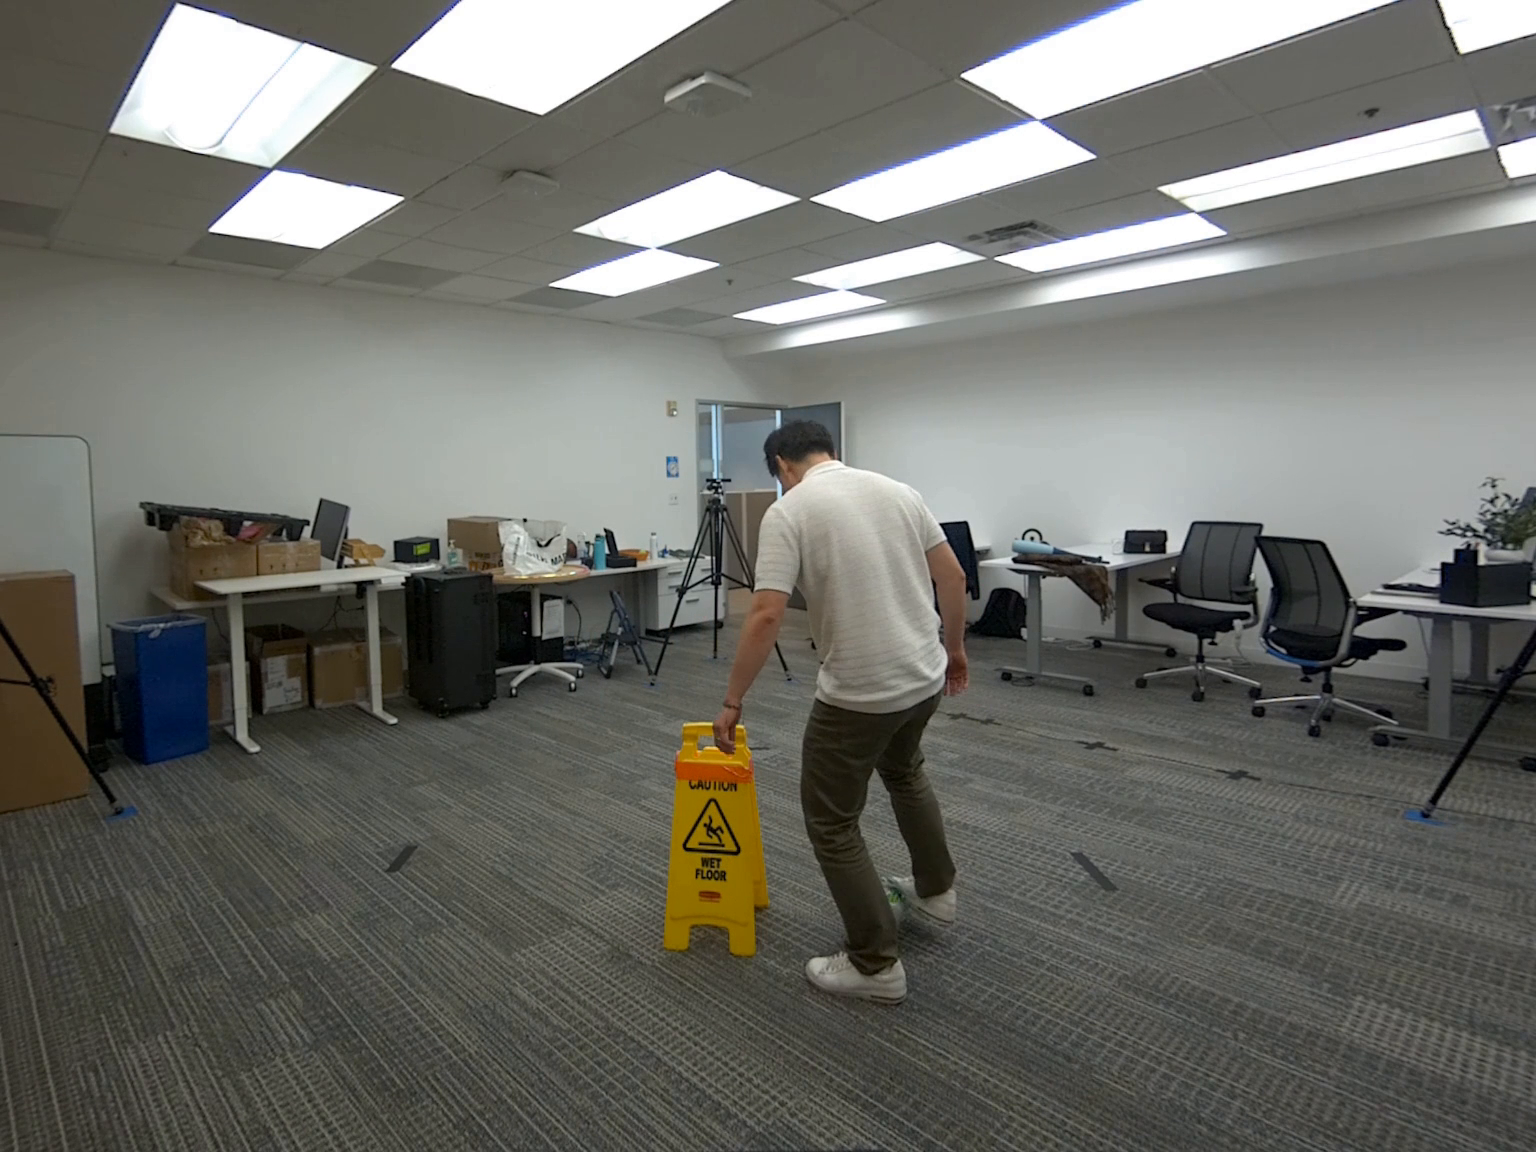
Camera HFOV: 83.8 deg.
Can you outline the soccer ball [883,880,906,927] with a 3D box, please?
[{"bbox_3d":[0.350,1.012,2.579,0.187,0.187,0.188,-1,5,-2],"label":"soccer ball"}]
